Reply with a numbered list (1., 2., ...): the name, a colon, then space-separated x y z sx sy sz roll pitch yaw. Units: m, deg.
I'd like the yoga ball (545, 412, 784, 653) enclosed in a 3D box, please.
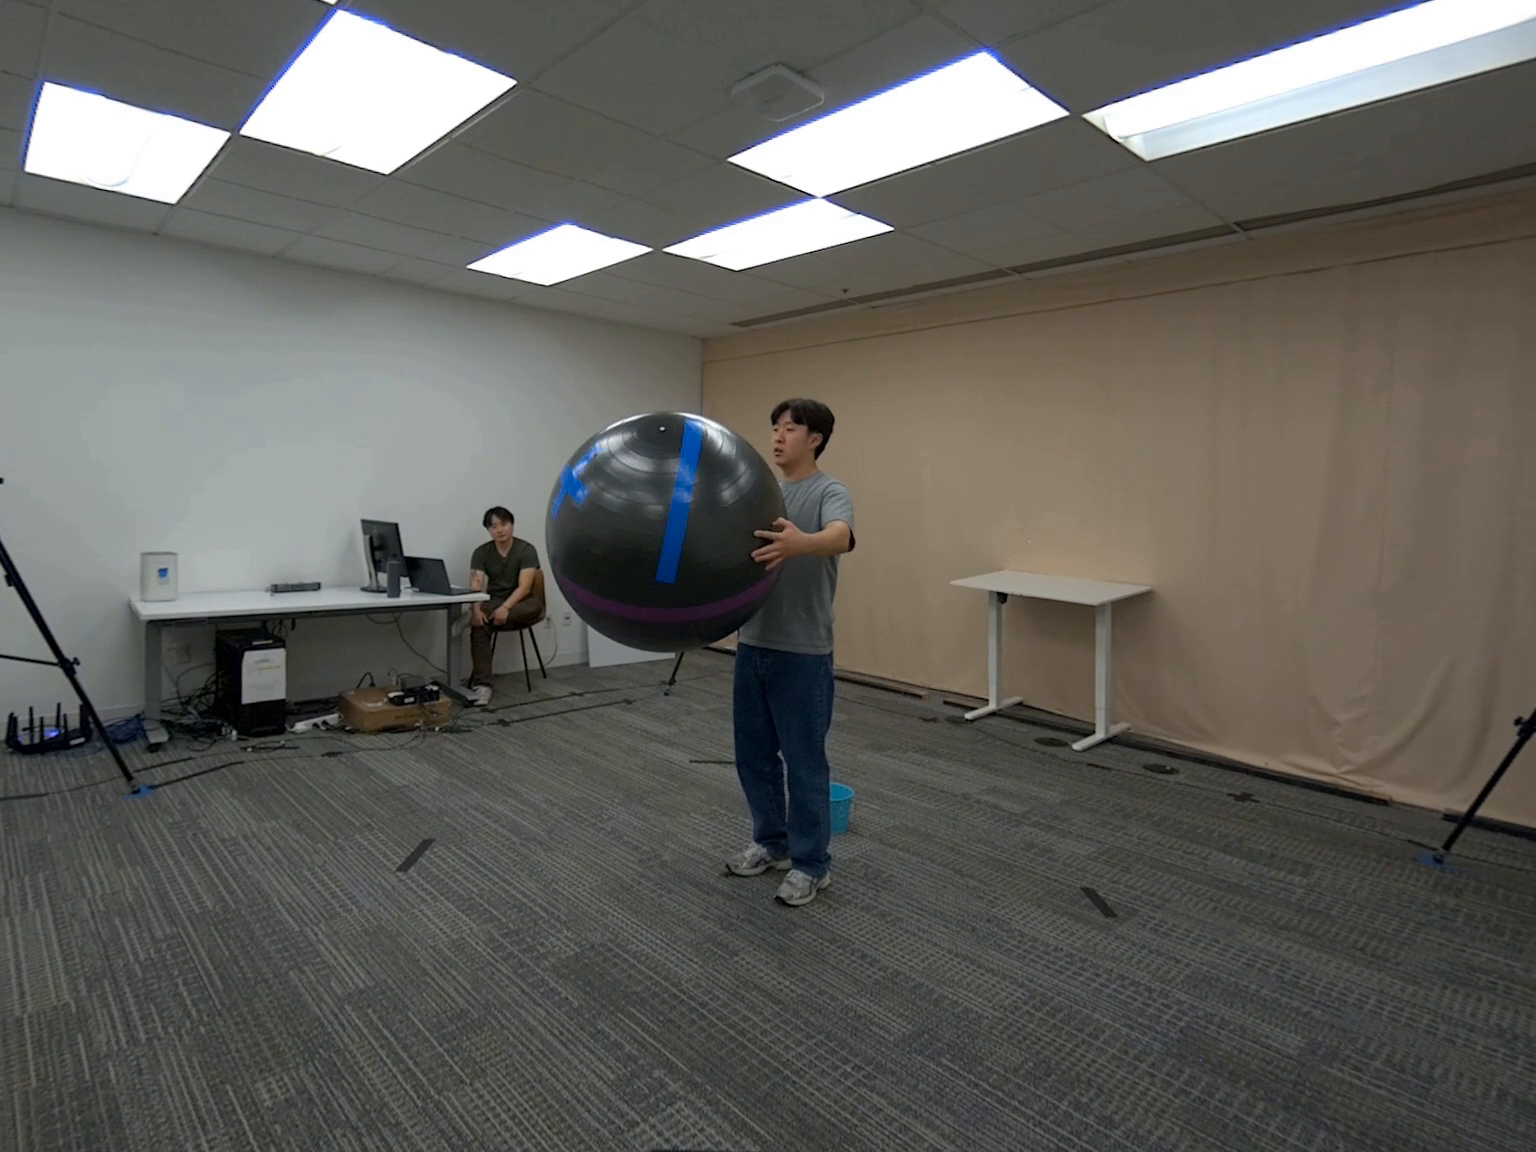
1. yoga ball: -0.322 -0.132 2.652 0.757 0.756 0.761 1 4 -1
